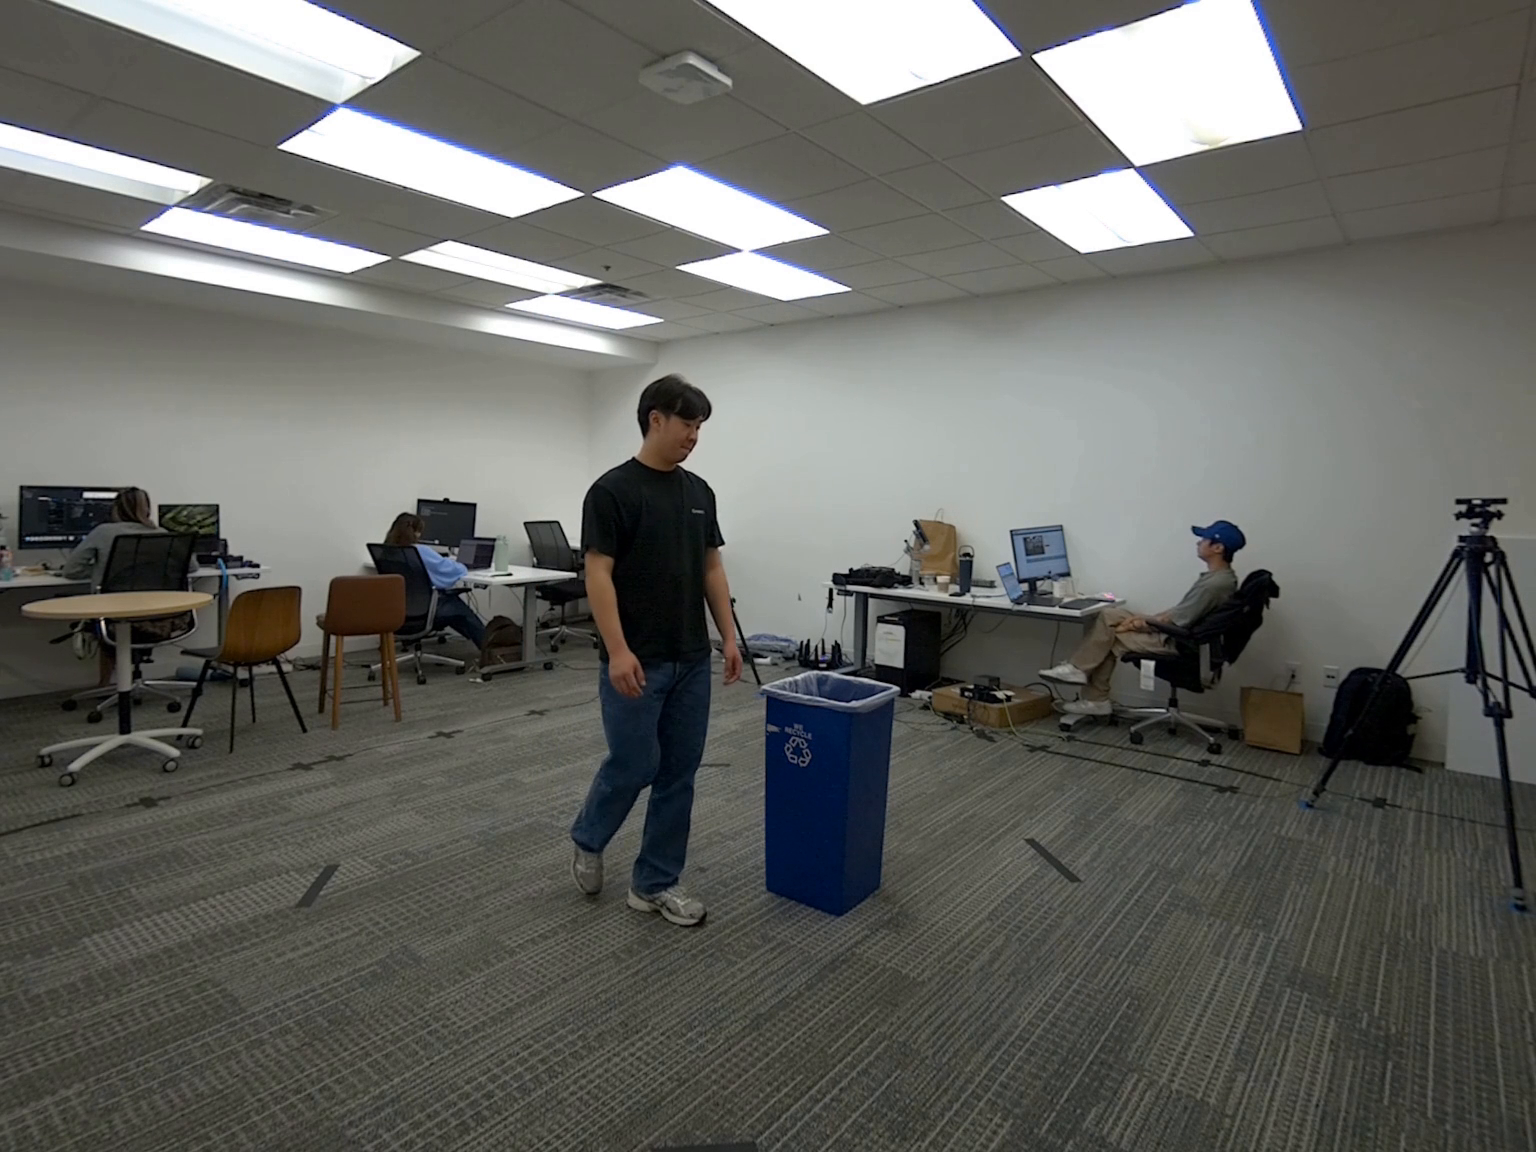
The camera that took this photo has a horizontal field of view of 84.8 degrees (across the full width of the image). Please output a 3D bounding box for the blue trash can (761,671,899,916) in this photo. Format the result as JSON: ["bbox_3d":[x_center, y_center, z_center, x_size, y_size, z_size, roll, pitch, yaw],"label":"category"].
[{"bbox_3d":[0.208,0.734,2.969,0.386,0.711,0.367,3,4,35],"label":"blue trash can"}]
